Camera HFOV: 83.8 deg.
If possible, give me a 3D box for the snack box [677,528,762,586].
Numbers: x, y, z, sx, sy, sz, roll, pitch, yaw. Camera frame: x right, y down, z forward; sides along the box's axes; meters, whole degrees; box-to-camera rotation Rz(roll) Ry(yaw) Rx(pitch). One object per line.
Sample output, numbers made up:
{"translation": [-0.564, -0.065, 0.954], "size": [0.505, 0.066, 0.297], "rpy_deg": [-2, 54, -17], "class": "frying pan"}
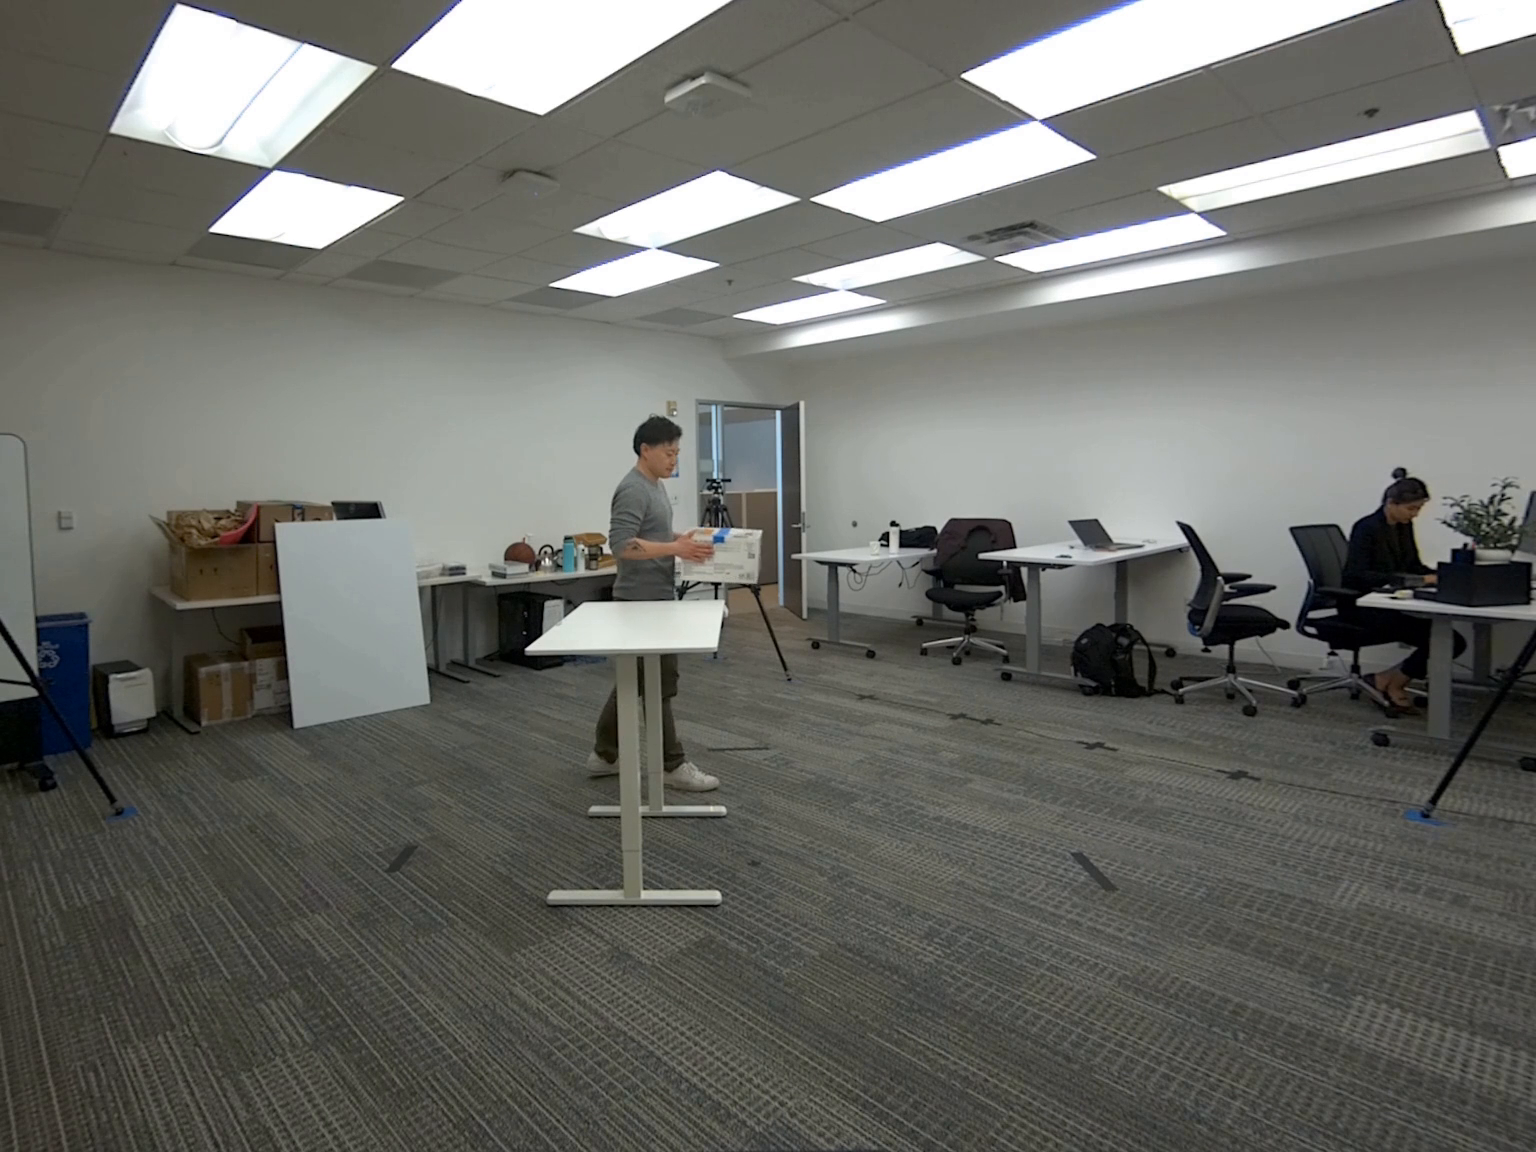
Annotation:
{"translation": [-0.216, -0.094, 3.898], "size": [0.341, 0.204, 0.406], "rpy_deg": [1, 7, 2], "class": "snack box"}
